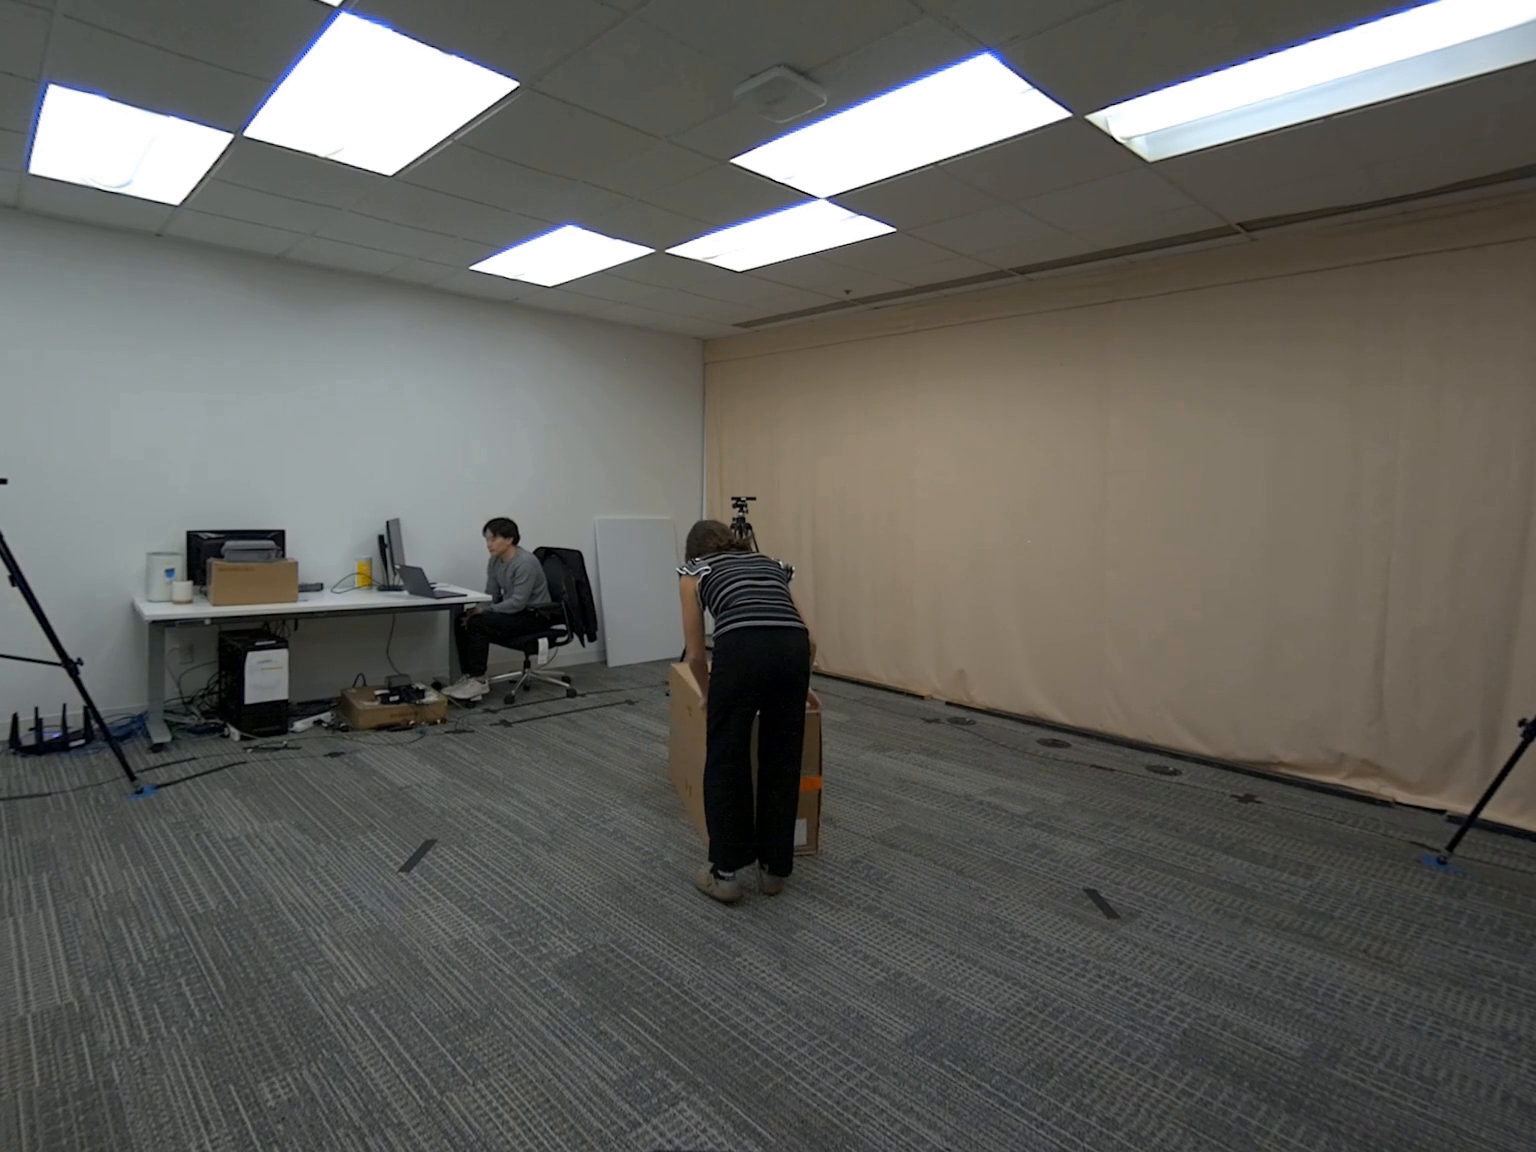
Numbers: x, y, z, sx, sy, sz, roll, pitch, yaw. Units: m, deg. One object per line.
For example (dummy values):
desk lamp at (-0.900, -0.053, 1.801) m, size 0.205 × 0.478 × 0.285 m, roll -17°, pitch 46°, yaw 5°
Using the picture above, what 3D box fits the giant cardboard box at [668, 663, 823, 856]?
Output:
giant cardboard box at (-0.150, 0.761, 3.742) m, size 0.421 × 0.576 × 1.041 m, roll 1°, pitch 5°, yaw -16°
